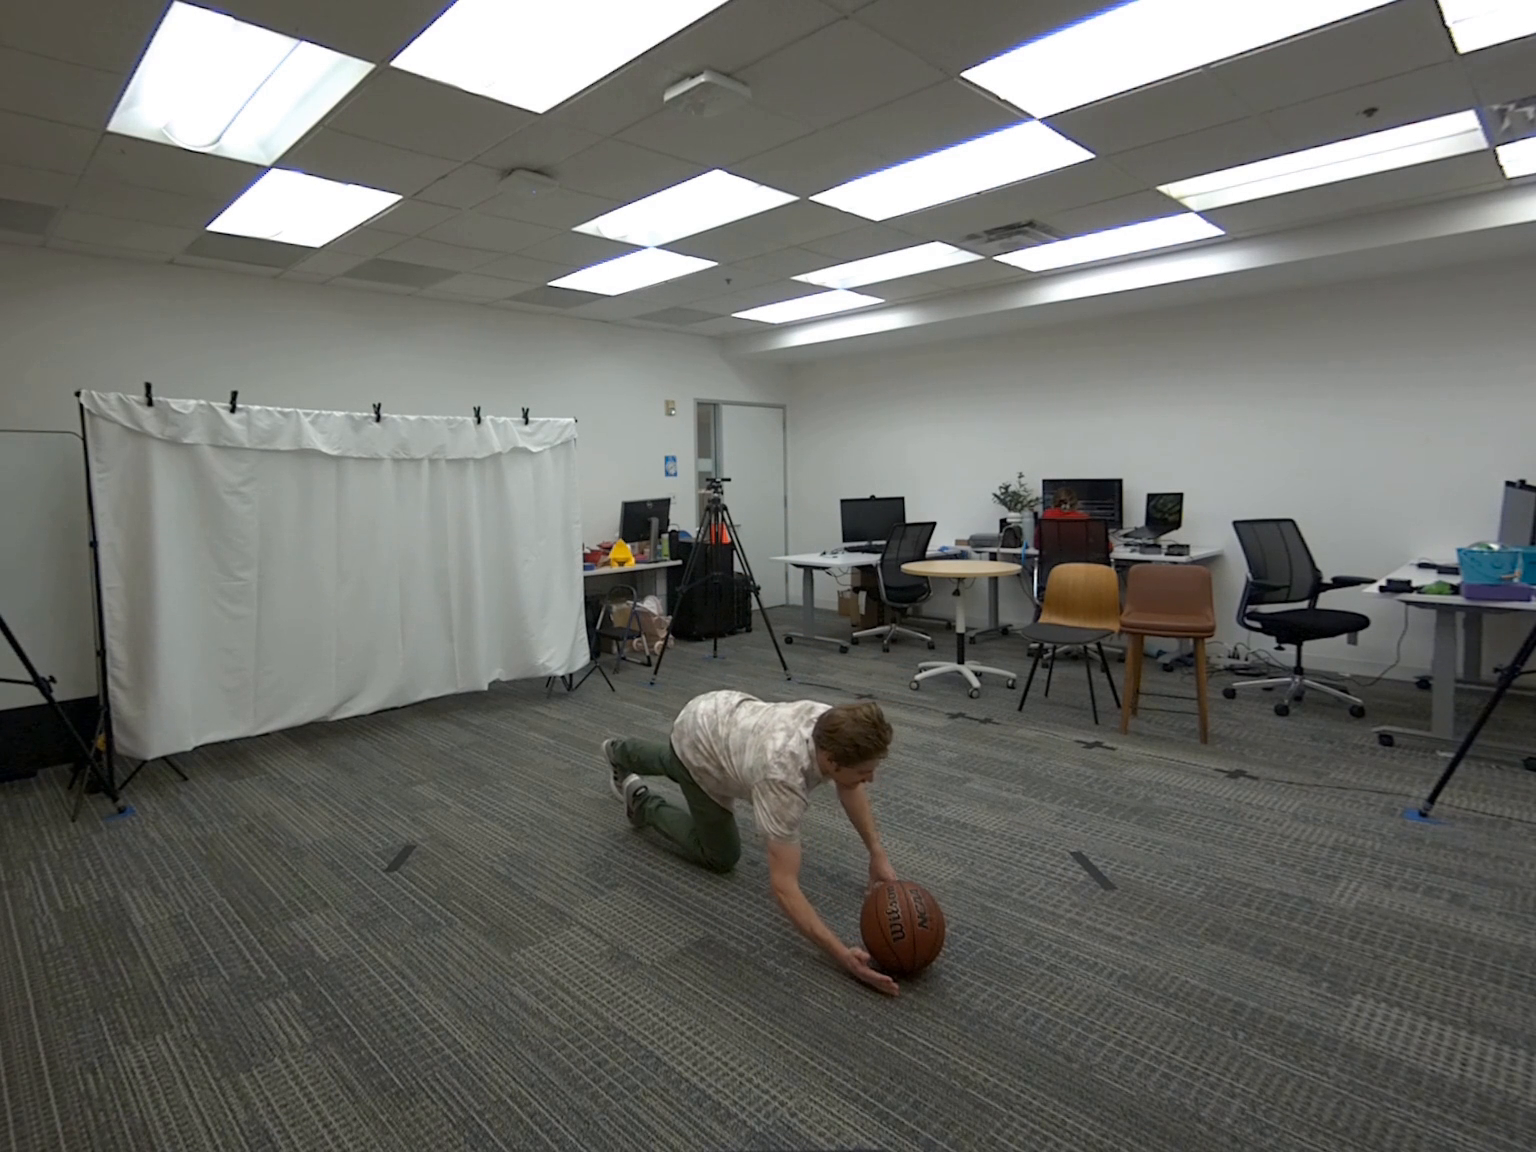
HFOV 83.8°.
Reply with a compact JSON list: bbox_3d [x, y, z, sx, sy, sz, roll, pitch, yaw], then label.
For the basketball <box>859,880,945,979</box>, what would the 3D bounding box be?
[{"bbox_3d":[0.389,0.991,2.420,0.236,0.235,0.237,-1,5,-2],"label":"basketball"}]
